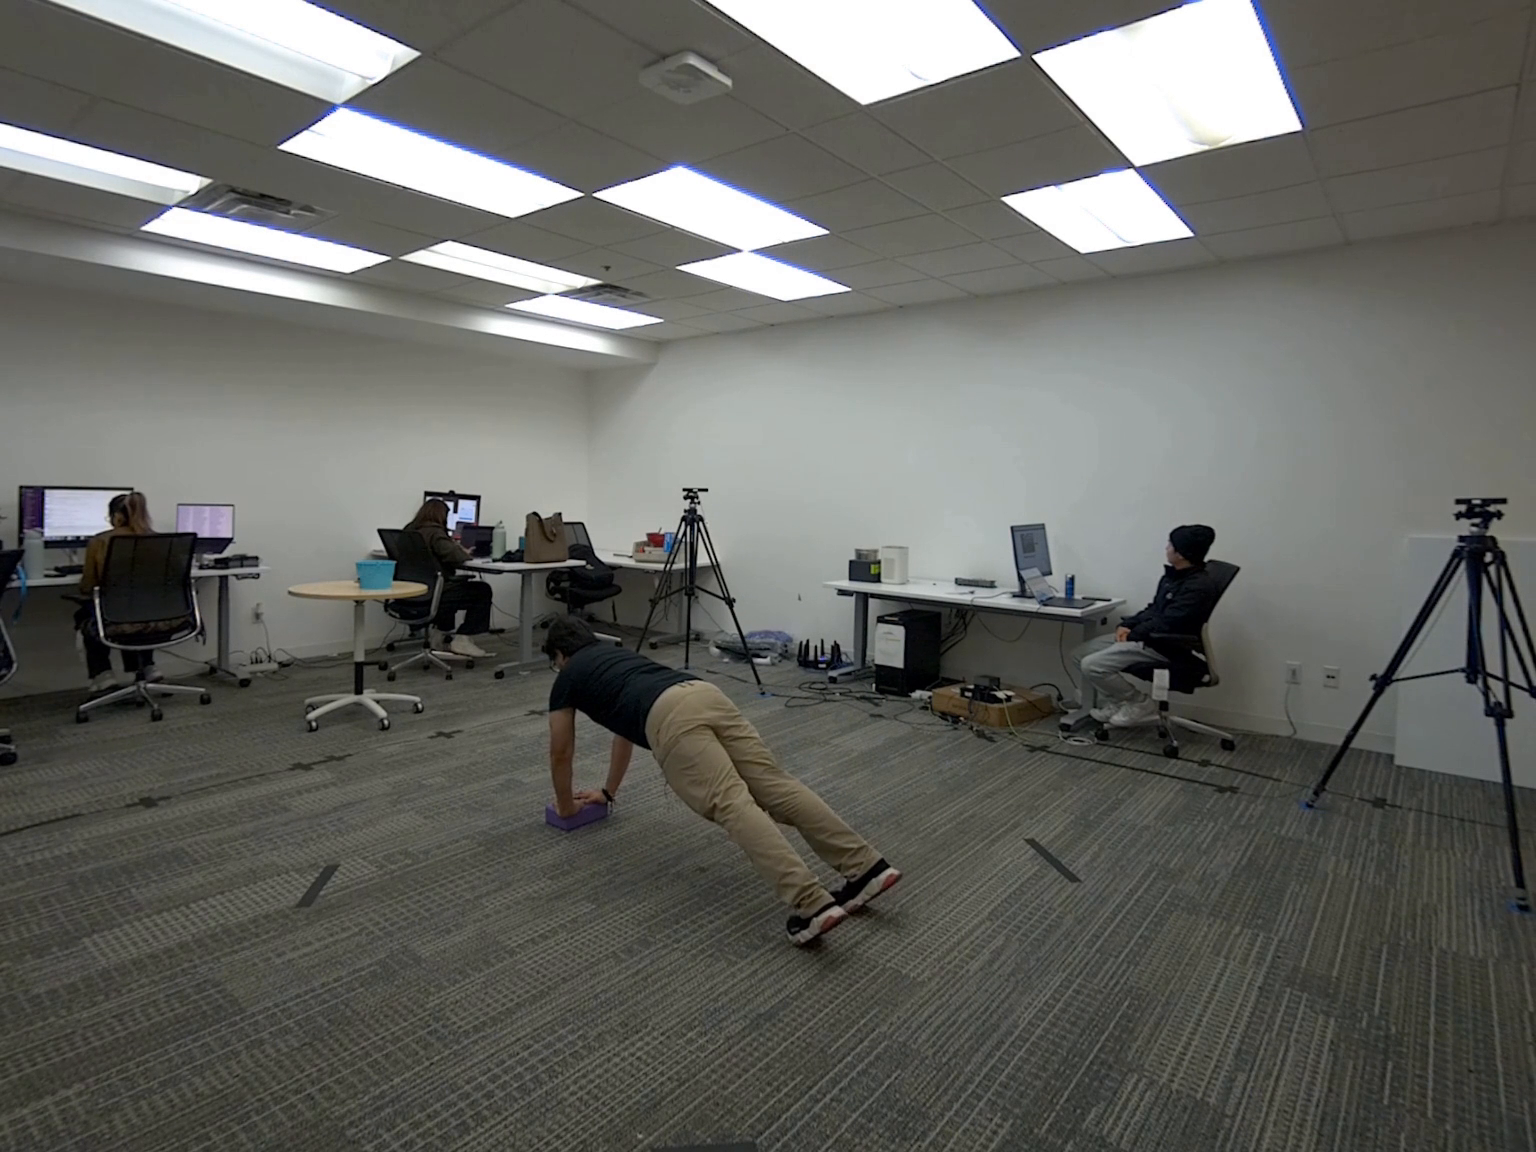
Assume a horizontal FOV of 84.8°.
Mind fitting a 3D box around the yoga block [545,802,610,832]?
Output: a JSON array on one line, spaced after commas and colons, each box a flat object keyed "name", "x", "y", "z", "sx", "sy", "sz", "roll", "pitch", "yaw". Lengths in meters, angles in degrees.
[{"name": "yoga block", "x": -0.812, "y": 0.981, "z": 3.560, "sx": 0.154, "sy": 0.076, "sz": 0.223, "roll": 3, "pitch": 7, "yaw": 37}]
